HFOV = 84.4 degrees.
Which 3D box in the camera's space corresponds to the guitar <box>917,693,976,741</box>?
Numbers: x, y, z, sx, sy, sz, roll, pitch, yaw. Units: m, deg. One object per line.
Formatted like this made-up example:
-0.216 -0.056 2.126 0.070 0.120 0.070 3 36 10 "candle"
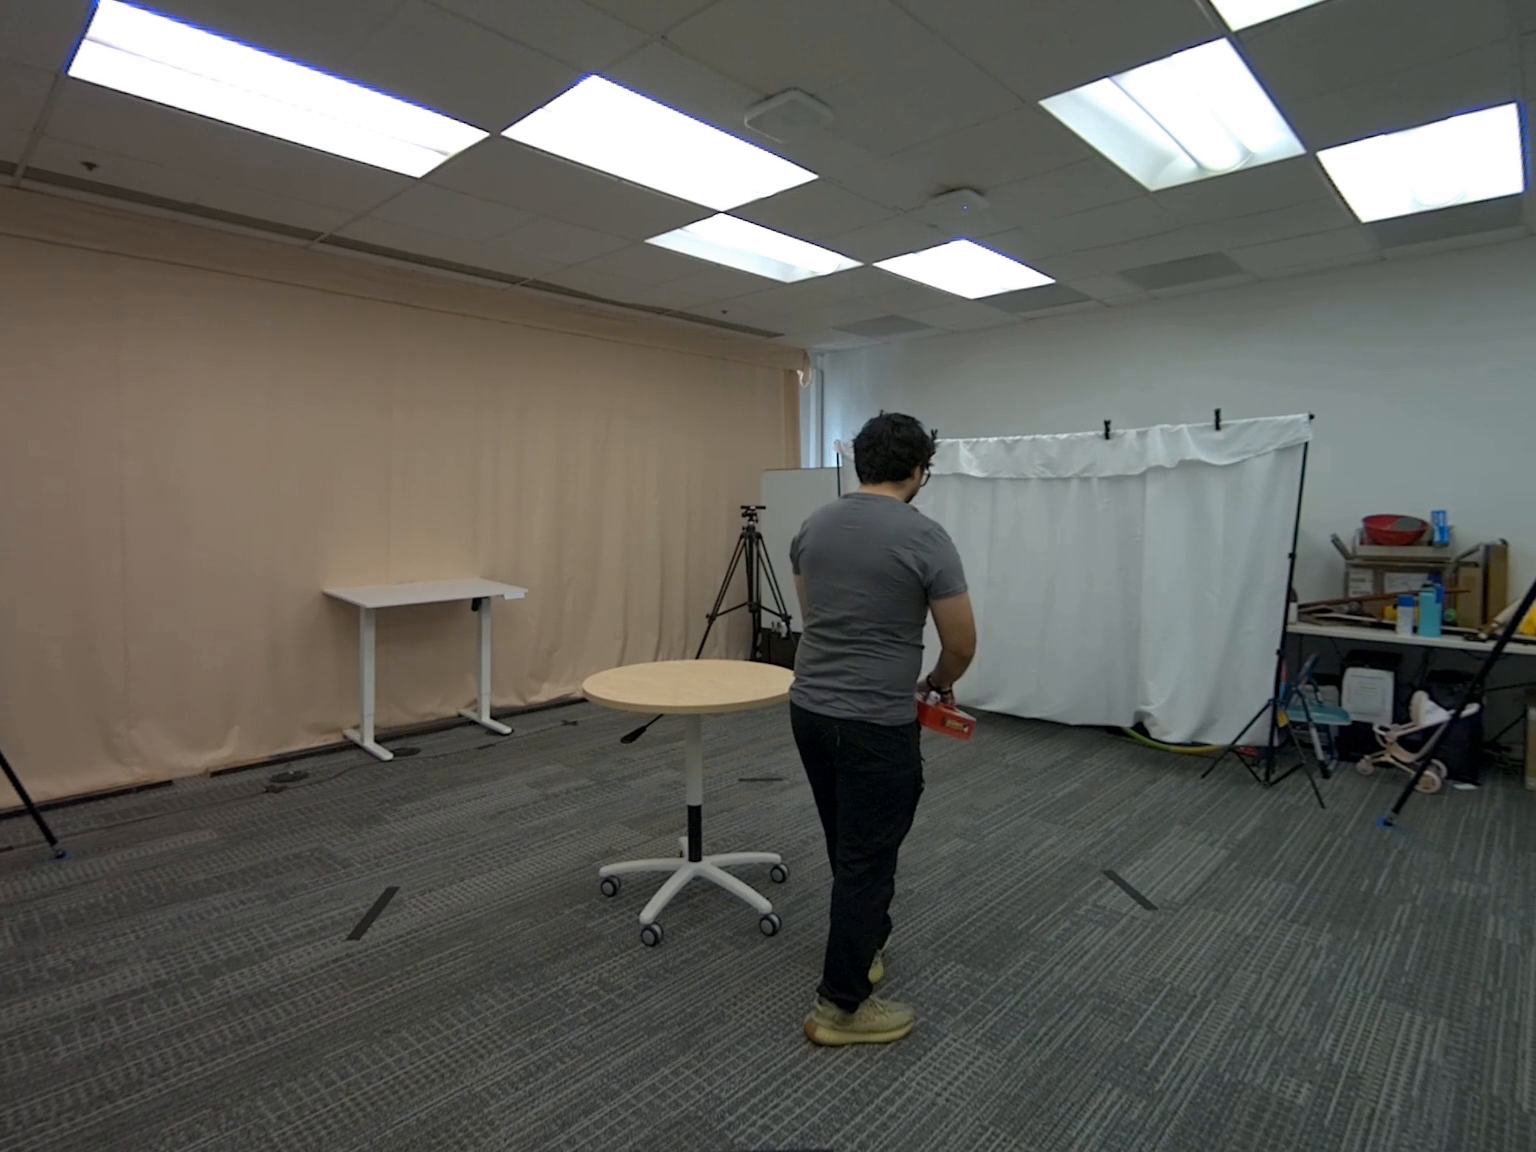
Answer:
0.448 0.363 2.522 0.190 0.070 0.506 20 3 -14 "guitar"
